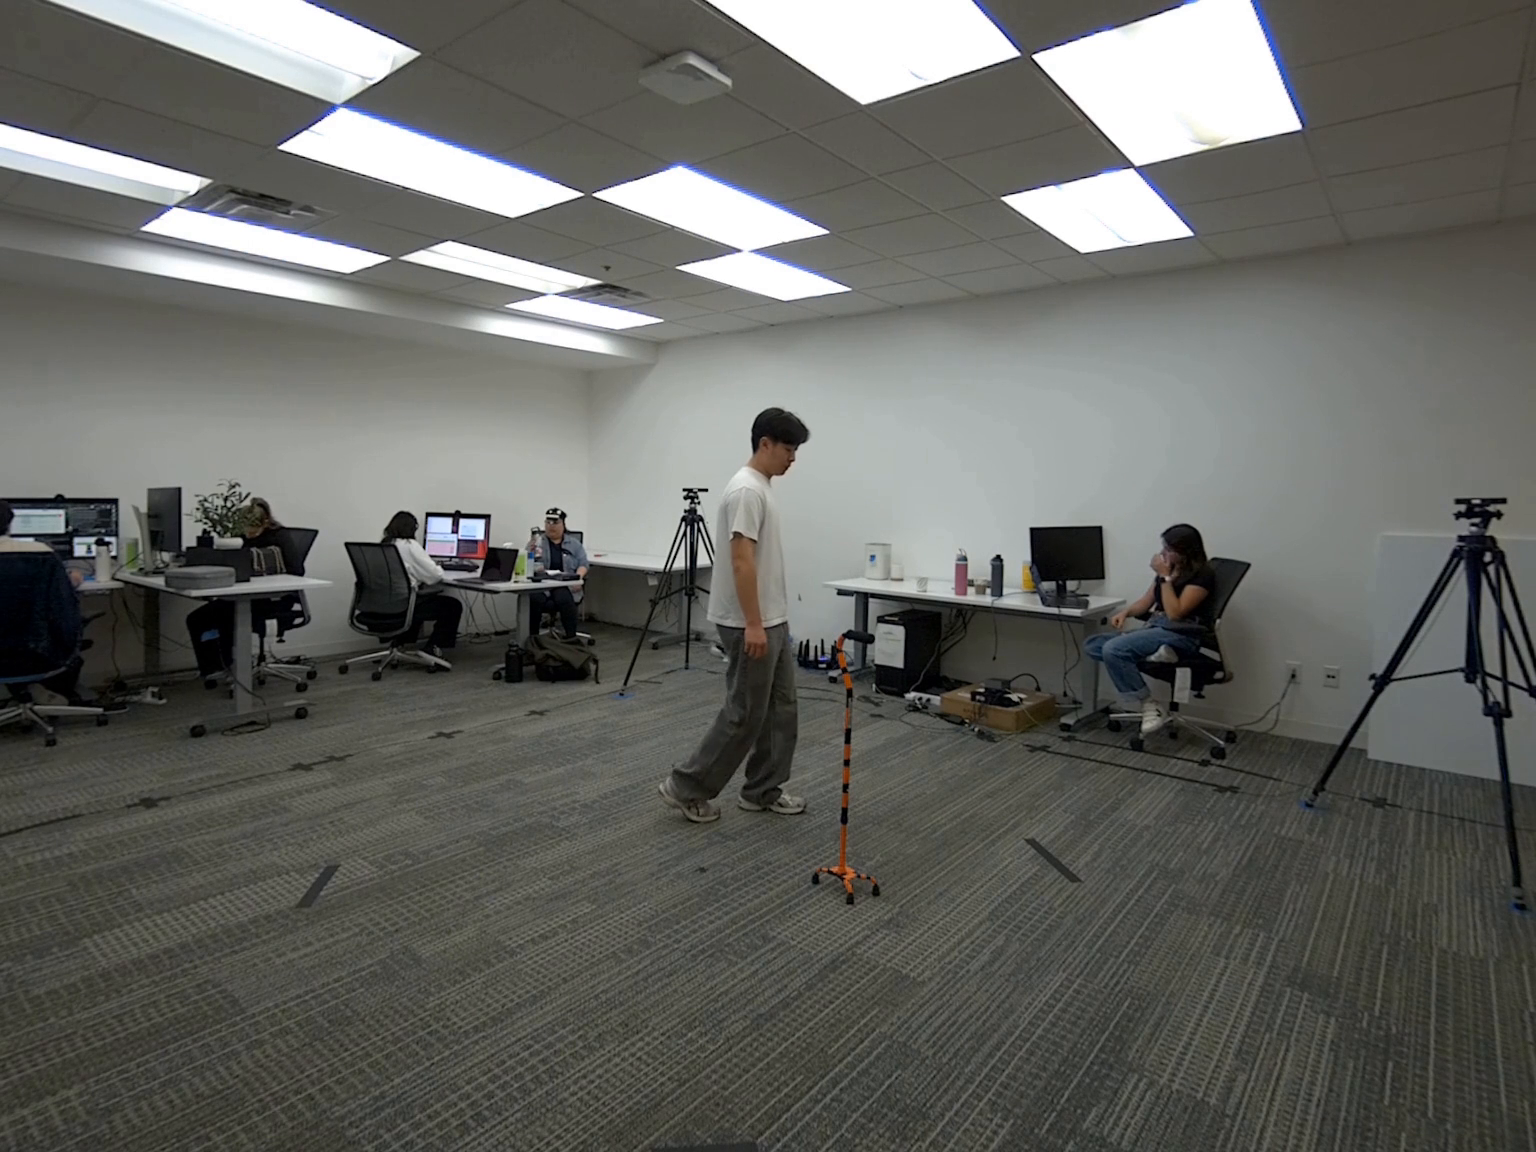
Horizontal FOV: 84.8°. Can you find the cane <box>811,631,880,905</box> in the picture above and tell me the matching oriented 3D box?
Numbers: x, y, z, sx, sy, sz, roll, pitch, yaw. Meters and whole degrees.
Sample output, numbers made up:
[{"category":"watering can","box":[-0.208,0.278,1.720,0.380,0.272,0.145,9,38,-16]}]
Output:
[{"category":"cane","box":[0.290,0.633,2.966,0.147,0.906,0.213,-1,3,-37]}]
